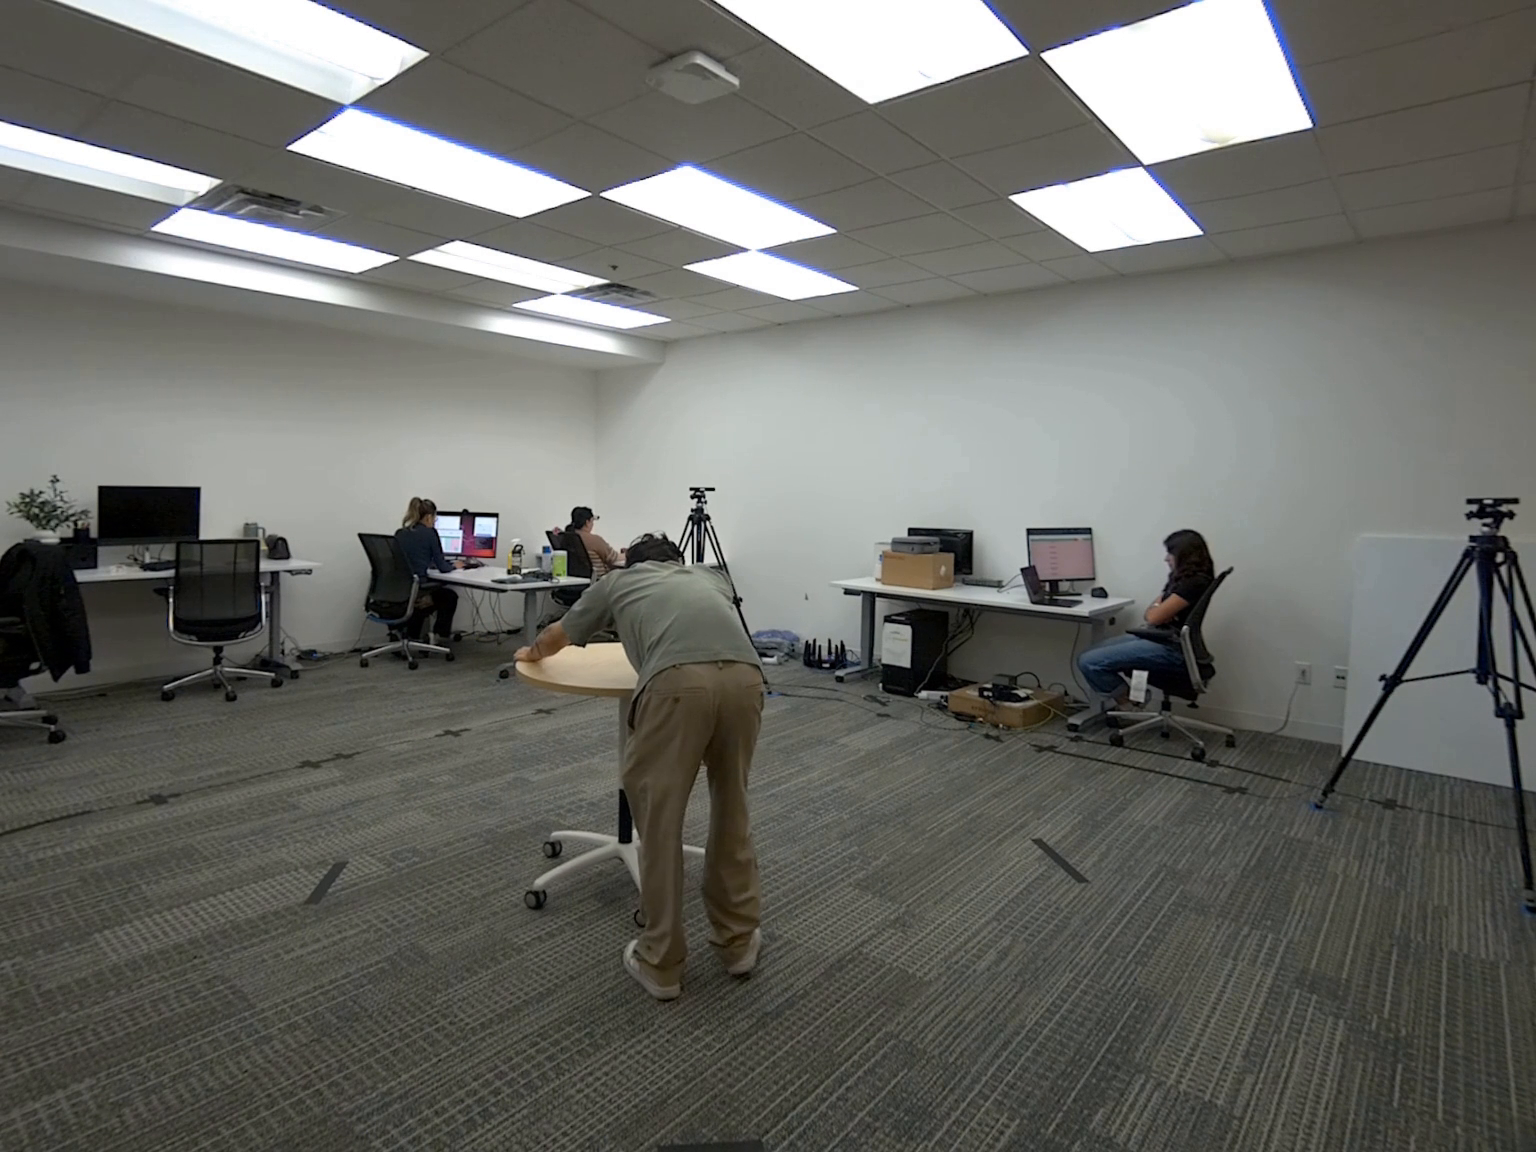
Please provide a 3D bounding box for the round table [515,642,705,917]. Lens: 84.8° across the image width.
[{"bbox_3d":[-0.532,0.686,2.979,0.784,0.784,0.789,2,4,-2],"label":"round table"}]
